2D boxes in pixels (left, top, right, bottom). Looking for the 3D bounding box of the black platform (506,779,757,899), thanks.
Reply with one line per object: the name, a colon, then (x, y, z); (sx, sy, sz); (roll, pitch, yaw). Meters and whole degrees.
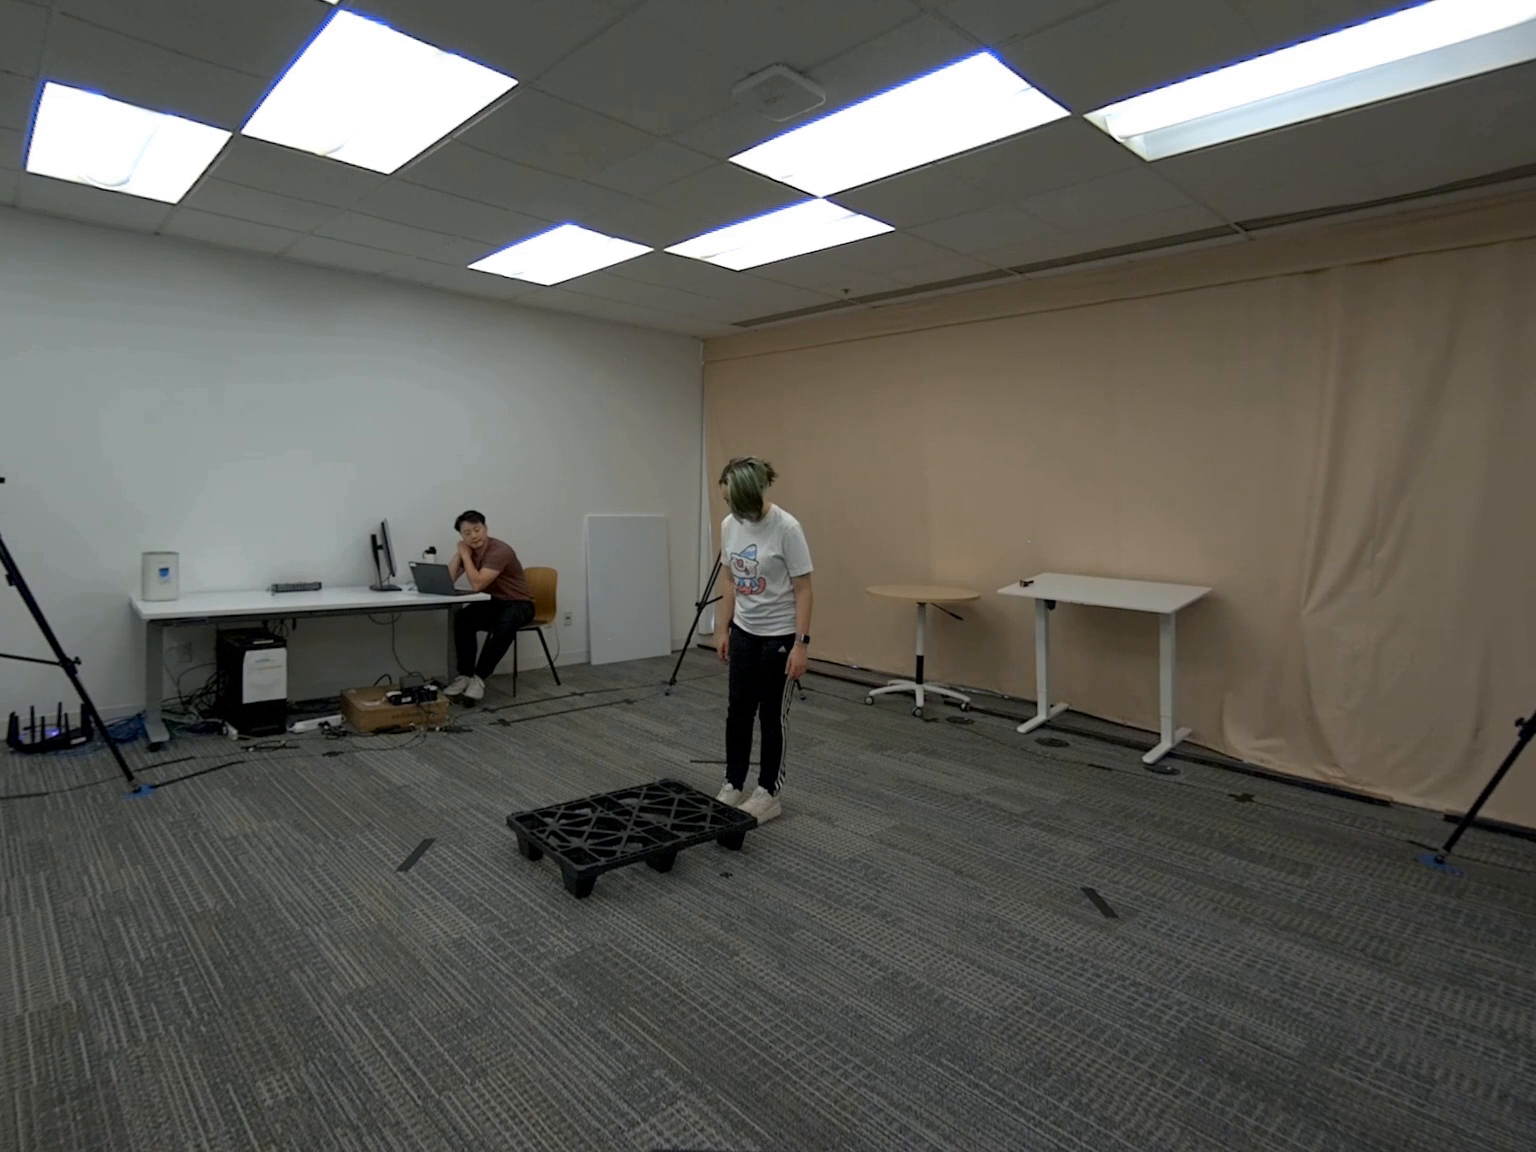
black platform: (-0.544, 1.013, 3.296); (0.787, 0.143, 0.620); (-3, 6, -40)
